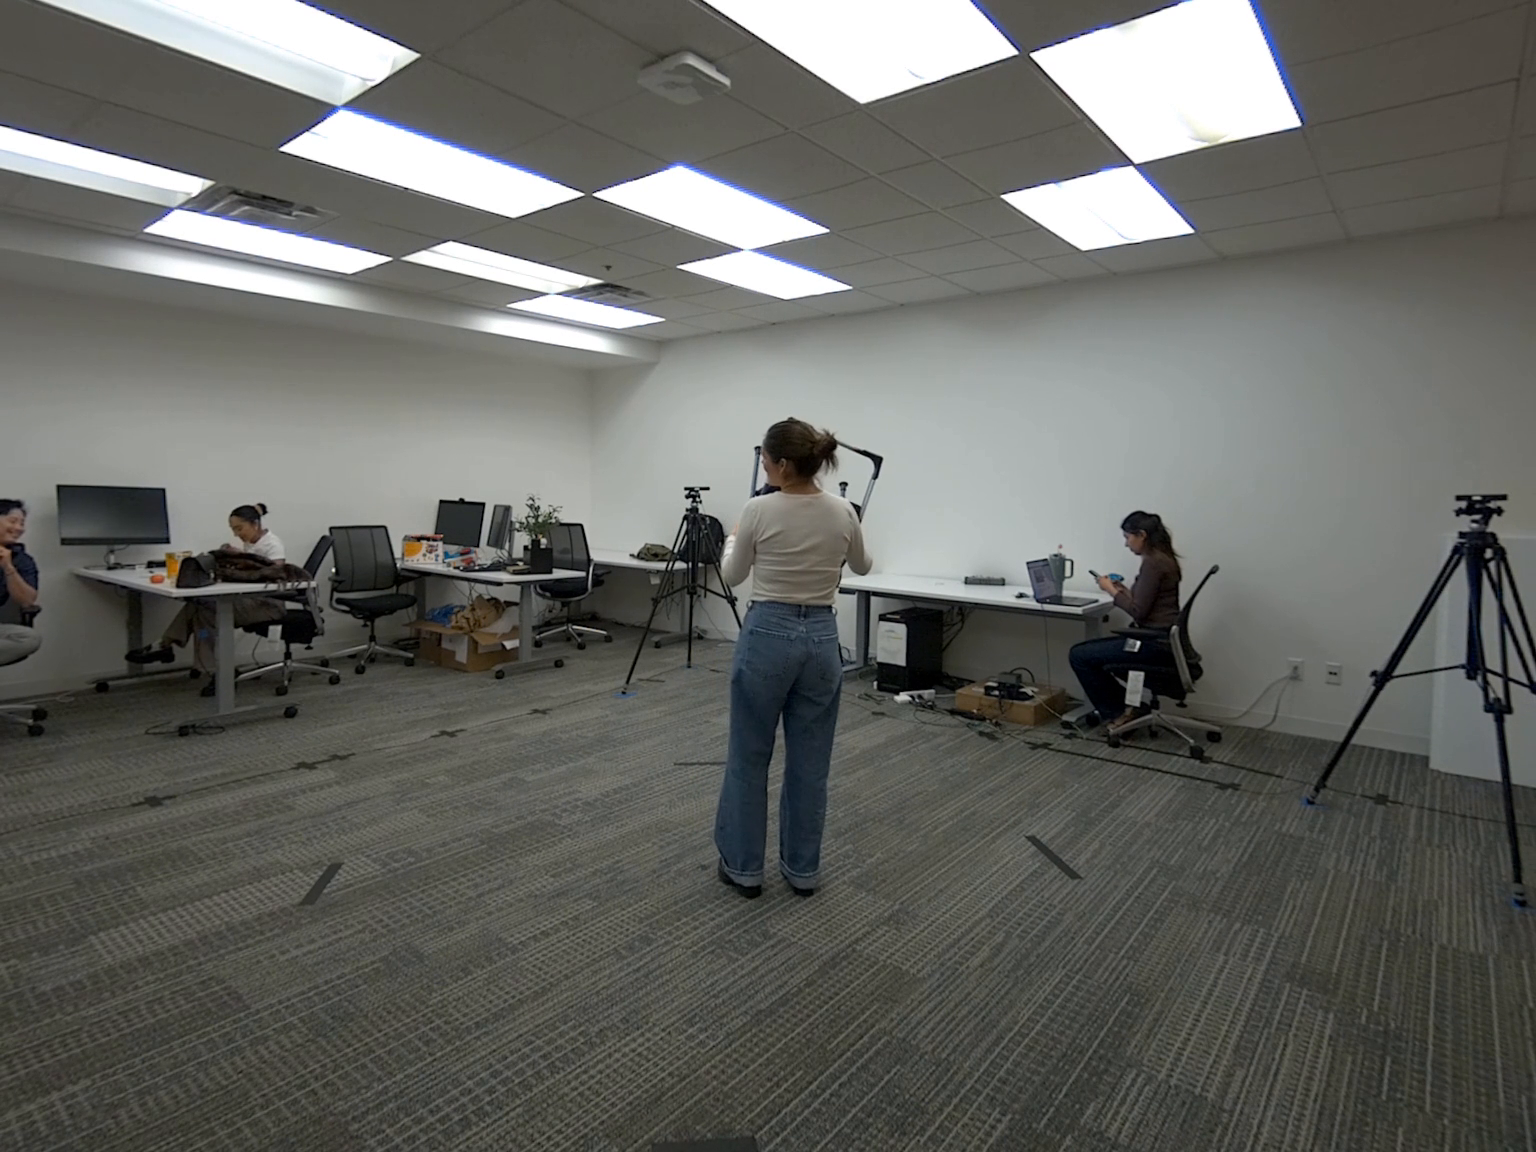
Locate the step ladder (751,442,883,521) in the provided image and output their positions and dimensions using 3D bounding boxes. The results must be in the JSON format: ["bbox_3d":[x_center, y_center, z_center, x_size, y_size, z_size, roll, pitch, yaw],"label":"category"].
[{"bbox_3d":[0.115,-0.220,3.270,0.423,0.614,0.351,22,-23,-15],"label":"step ladder"}]
